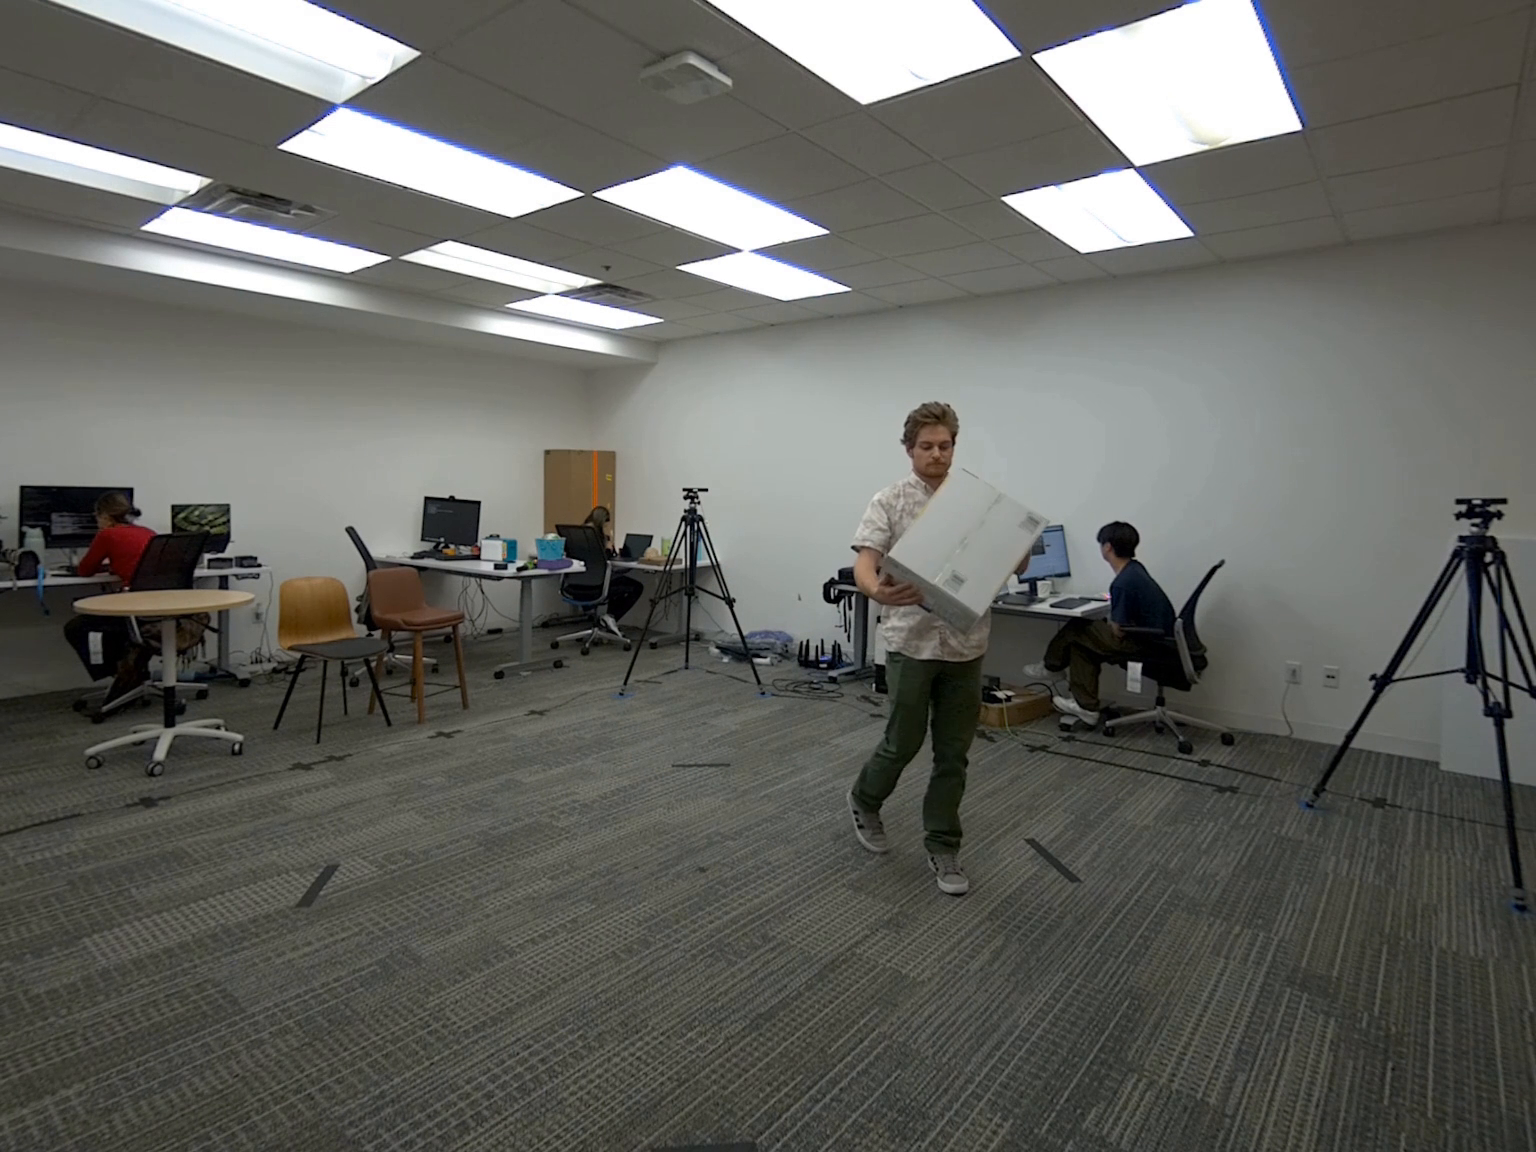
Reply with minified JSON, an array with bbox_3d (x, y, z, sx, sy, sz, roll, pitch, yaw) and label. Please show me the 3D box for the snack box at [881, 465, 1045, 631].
[{"bbox_3d":[0.605,-0.081,2.710,0.348,0.405,0.201,34,-19,15],"label":"snack box"}]
